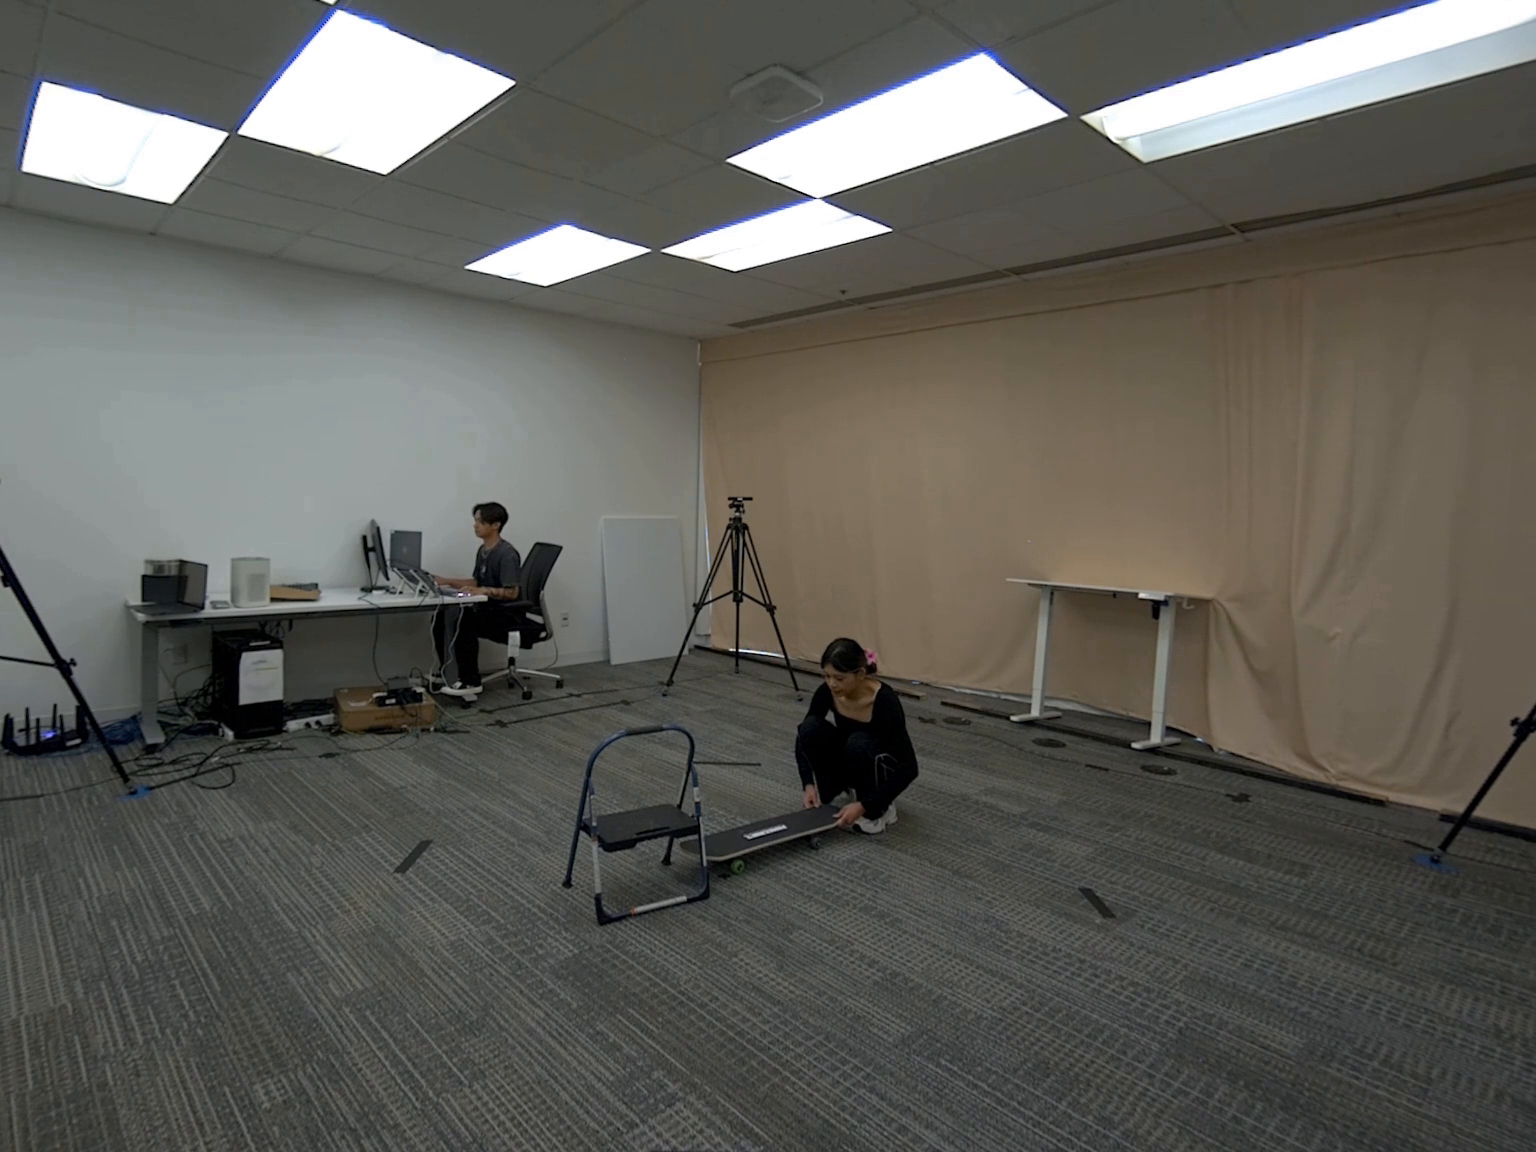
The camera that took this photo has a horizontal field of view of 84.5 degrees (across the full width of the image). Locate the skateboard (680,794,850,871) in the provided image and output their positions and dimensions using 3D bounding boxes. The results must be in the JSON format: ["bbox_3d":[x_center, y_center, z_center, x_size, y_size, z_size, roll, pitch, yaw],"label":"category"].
[{"bbox_3d":[-0.016,1.037,3.301,0.768,0.110,0.198,-2,6,-38],"label":"skateboard"}]
